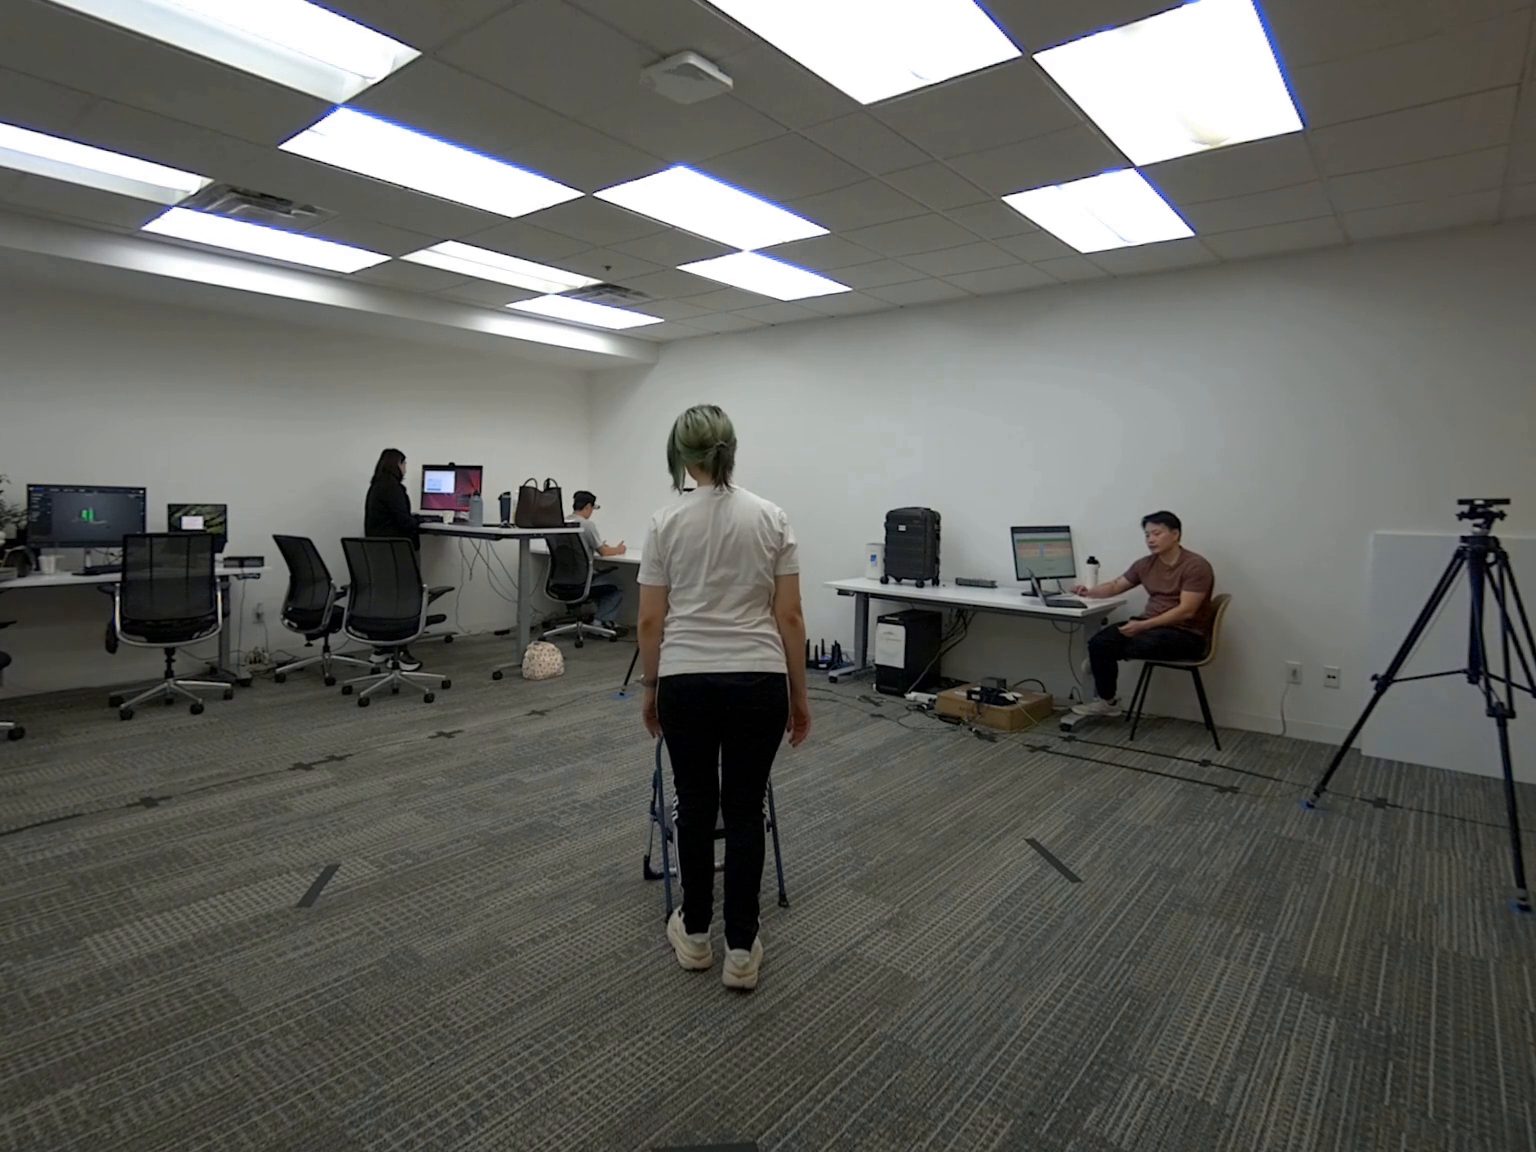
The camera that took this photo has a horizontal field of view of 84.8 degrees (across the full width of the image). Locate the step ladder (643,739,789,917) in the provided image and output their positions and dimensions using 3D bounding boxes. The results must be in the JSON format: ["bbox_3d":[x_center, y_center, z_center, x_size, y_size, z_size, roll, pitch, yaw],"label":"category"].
[{"bbox_3d":[-0.191,0.787,2.920,0.421,0.604,0.358,1,3,-21],"label":"step ladder"}]
